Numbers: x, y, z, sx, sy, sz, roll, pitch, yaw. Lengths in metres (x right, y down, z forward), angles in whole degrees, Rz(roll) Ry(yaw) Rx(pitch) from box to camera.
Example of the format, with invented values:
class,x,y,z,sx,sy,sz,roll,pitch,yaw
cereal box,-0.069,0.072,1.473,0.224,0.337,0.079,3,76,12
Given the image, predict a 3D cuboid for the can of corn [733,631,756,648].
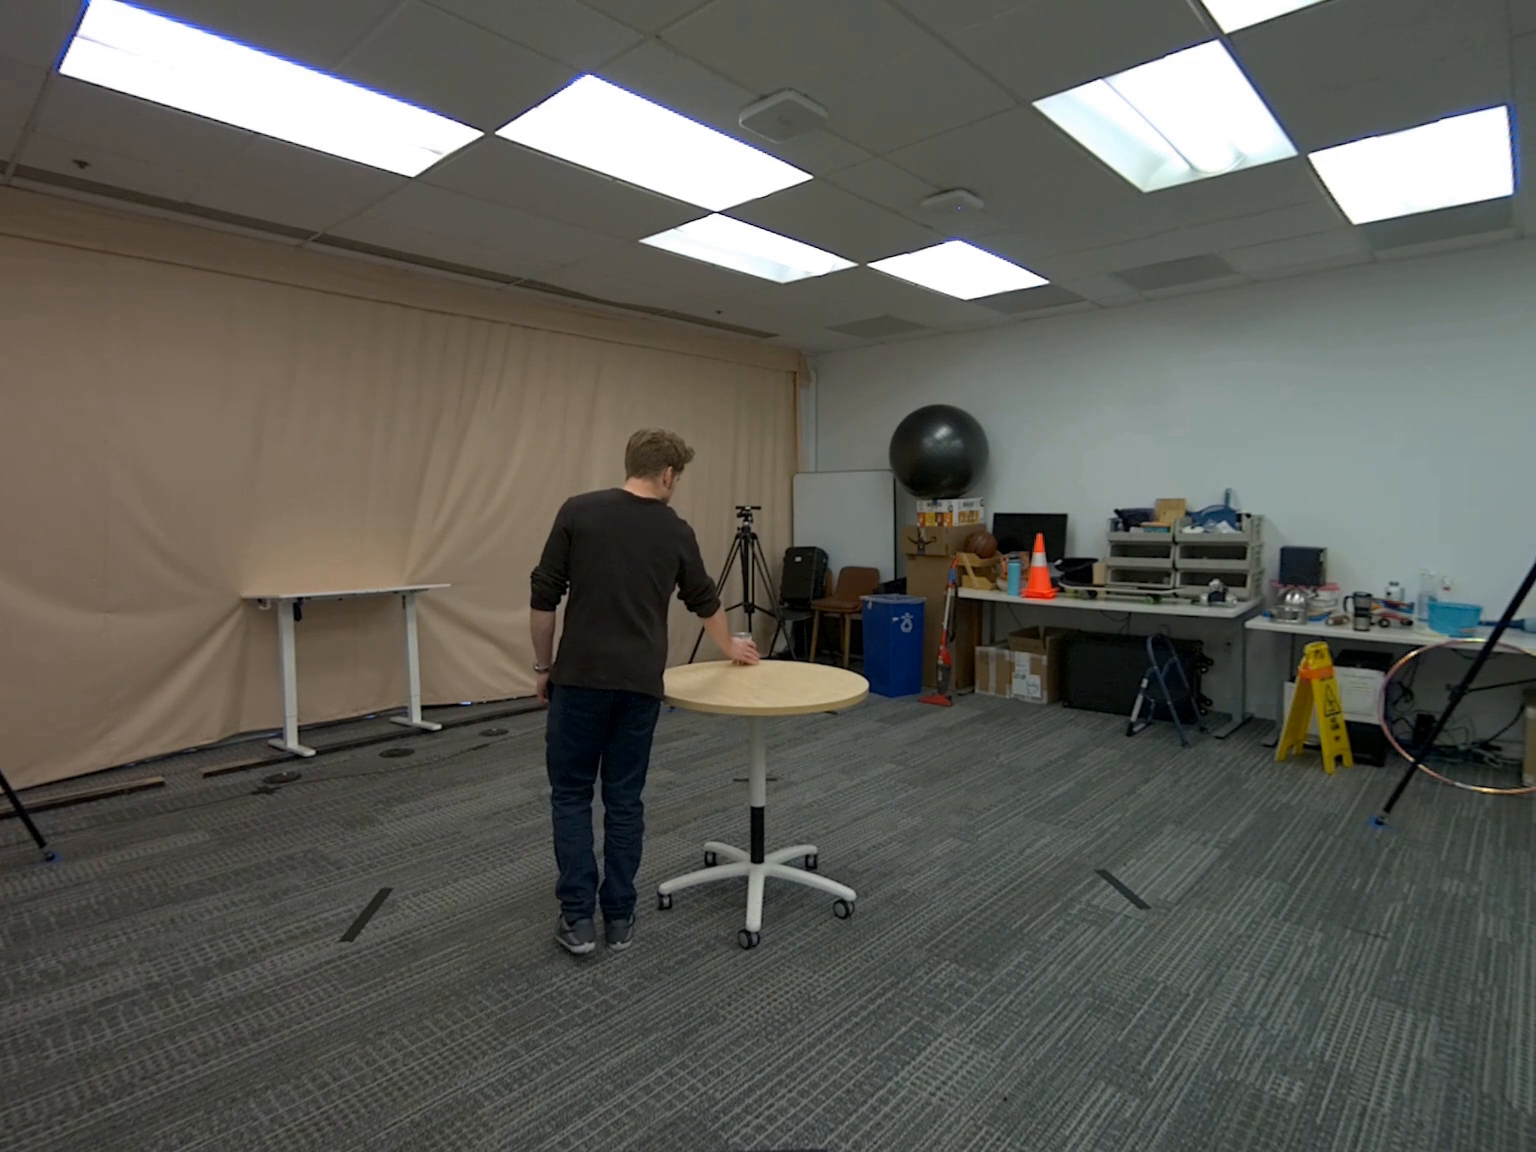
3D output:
class,x,y,z,sx,sy,sz,roll,pitch,yaw
can of corn,-0.099,0.282,3.250,0.074,0.111,0.074,-3,3,-2
